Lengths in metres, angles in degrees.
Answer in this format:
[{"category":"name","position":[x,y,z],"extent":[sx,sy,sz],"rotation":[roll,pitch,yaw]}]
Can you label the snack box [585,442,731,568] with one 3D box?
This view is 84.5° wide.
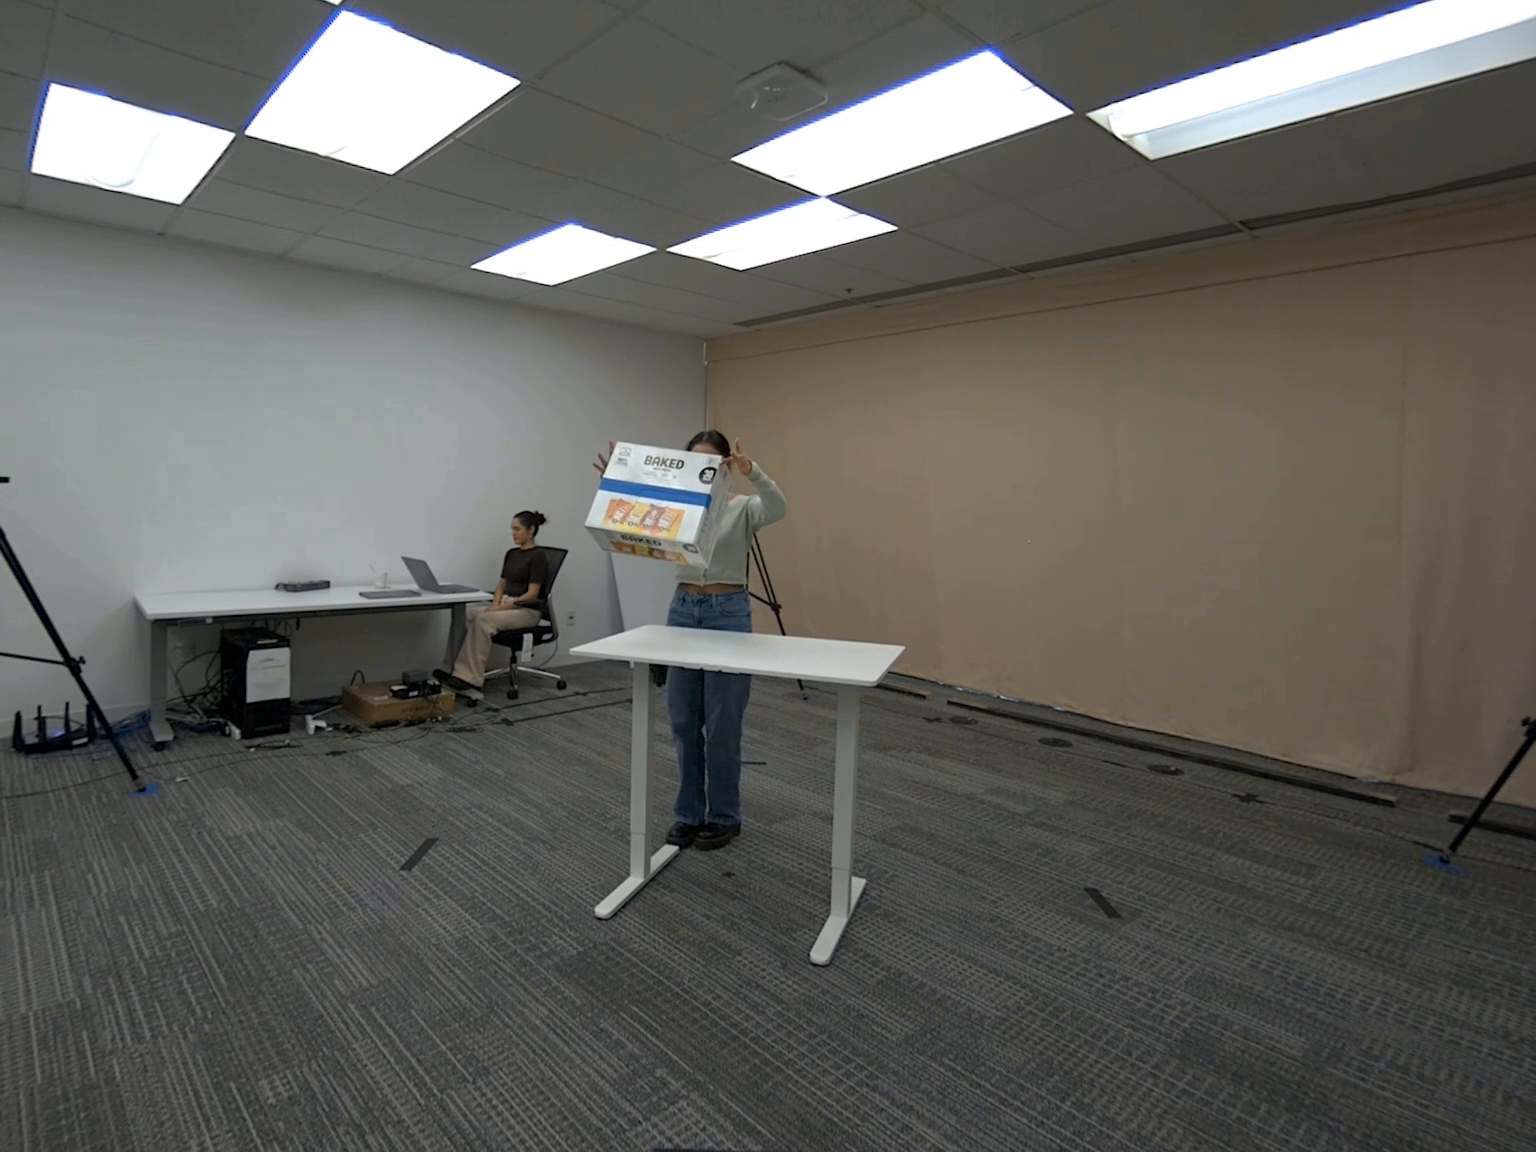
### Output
[{"category":"snack box","position":[-0.378,-0.246,2.932],"extent":[0.411,0.343,0.200],"rotation":[10,-23,17]}]
